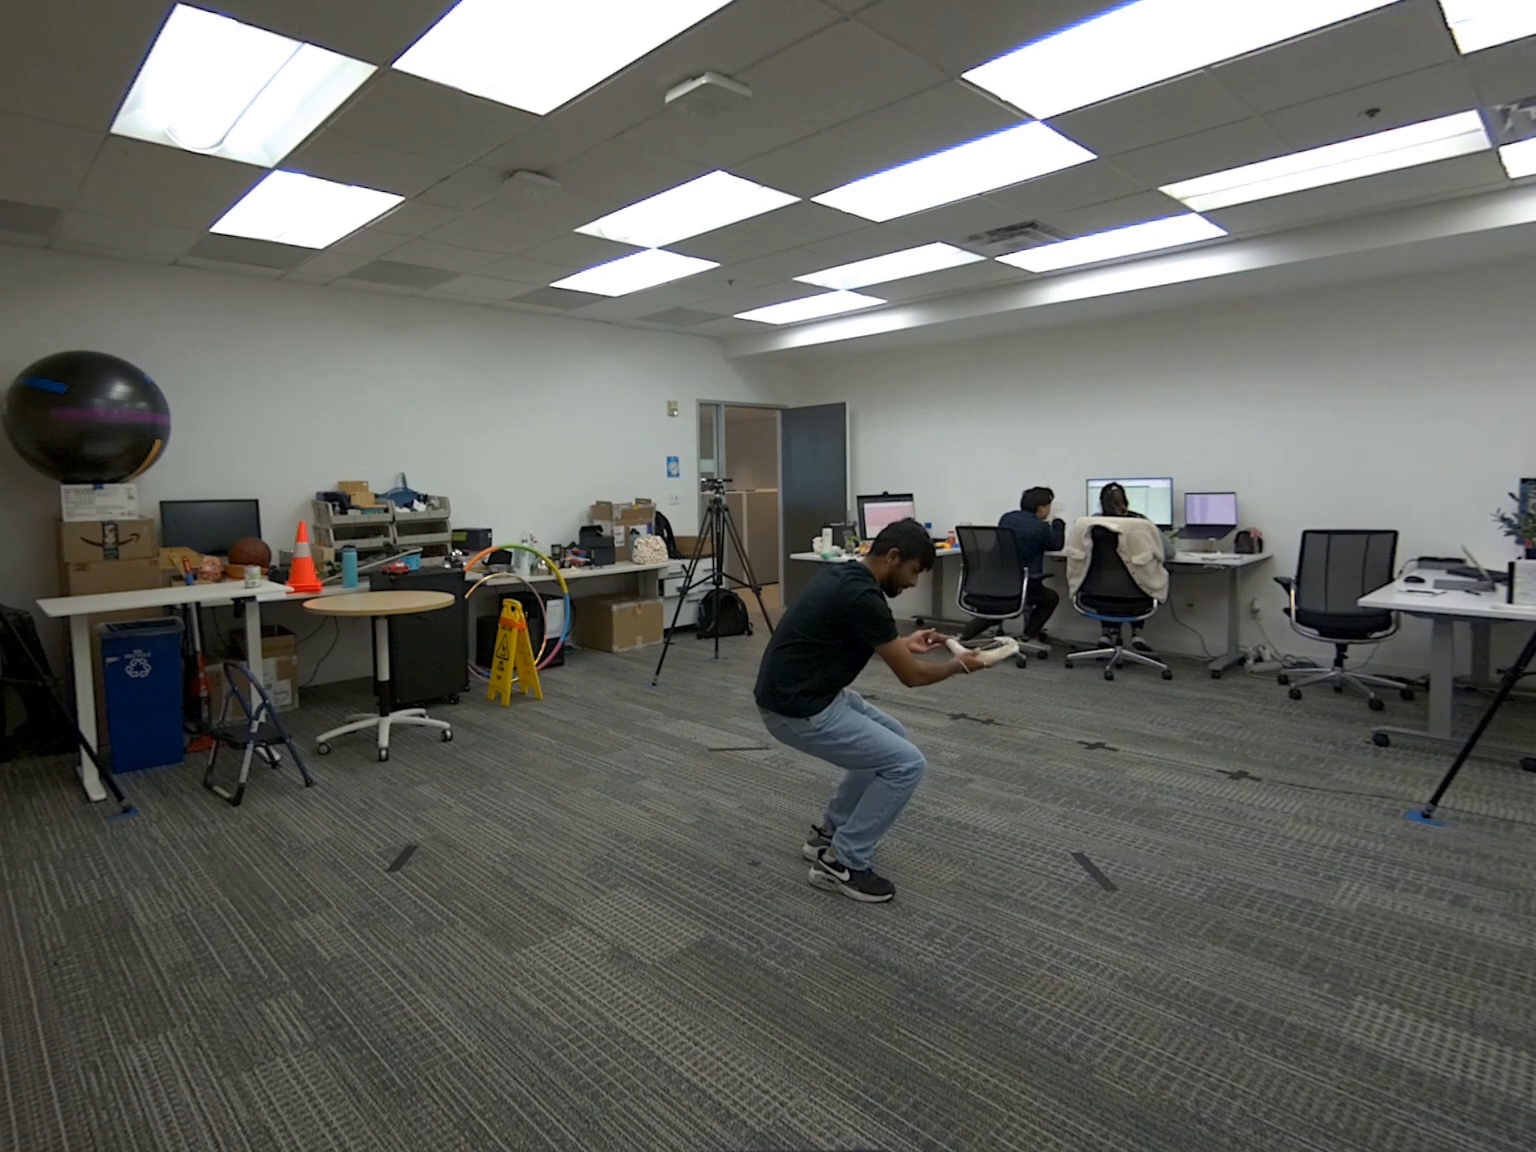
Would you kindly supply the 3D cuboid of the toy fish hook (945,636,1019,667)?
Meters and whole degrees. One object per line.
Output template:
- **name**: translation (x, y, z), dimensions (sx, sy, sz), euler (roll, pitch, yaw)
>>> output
- **toy fish hook**: translation (0.766, 0.260, 3.306), dimensions (0.222, 0.048, 0.517), euler (-13, 12, -14)
